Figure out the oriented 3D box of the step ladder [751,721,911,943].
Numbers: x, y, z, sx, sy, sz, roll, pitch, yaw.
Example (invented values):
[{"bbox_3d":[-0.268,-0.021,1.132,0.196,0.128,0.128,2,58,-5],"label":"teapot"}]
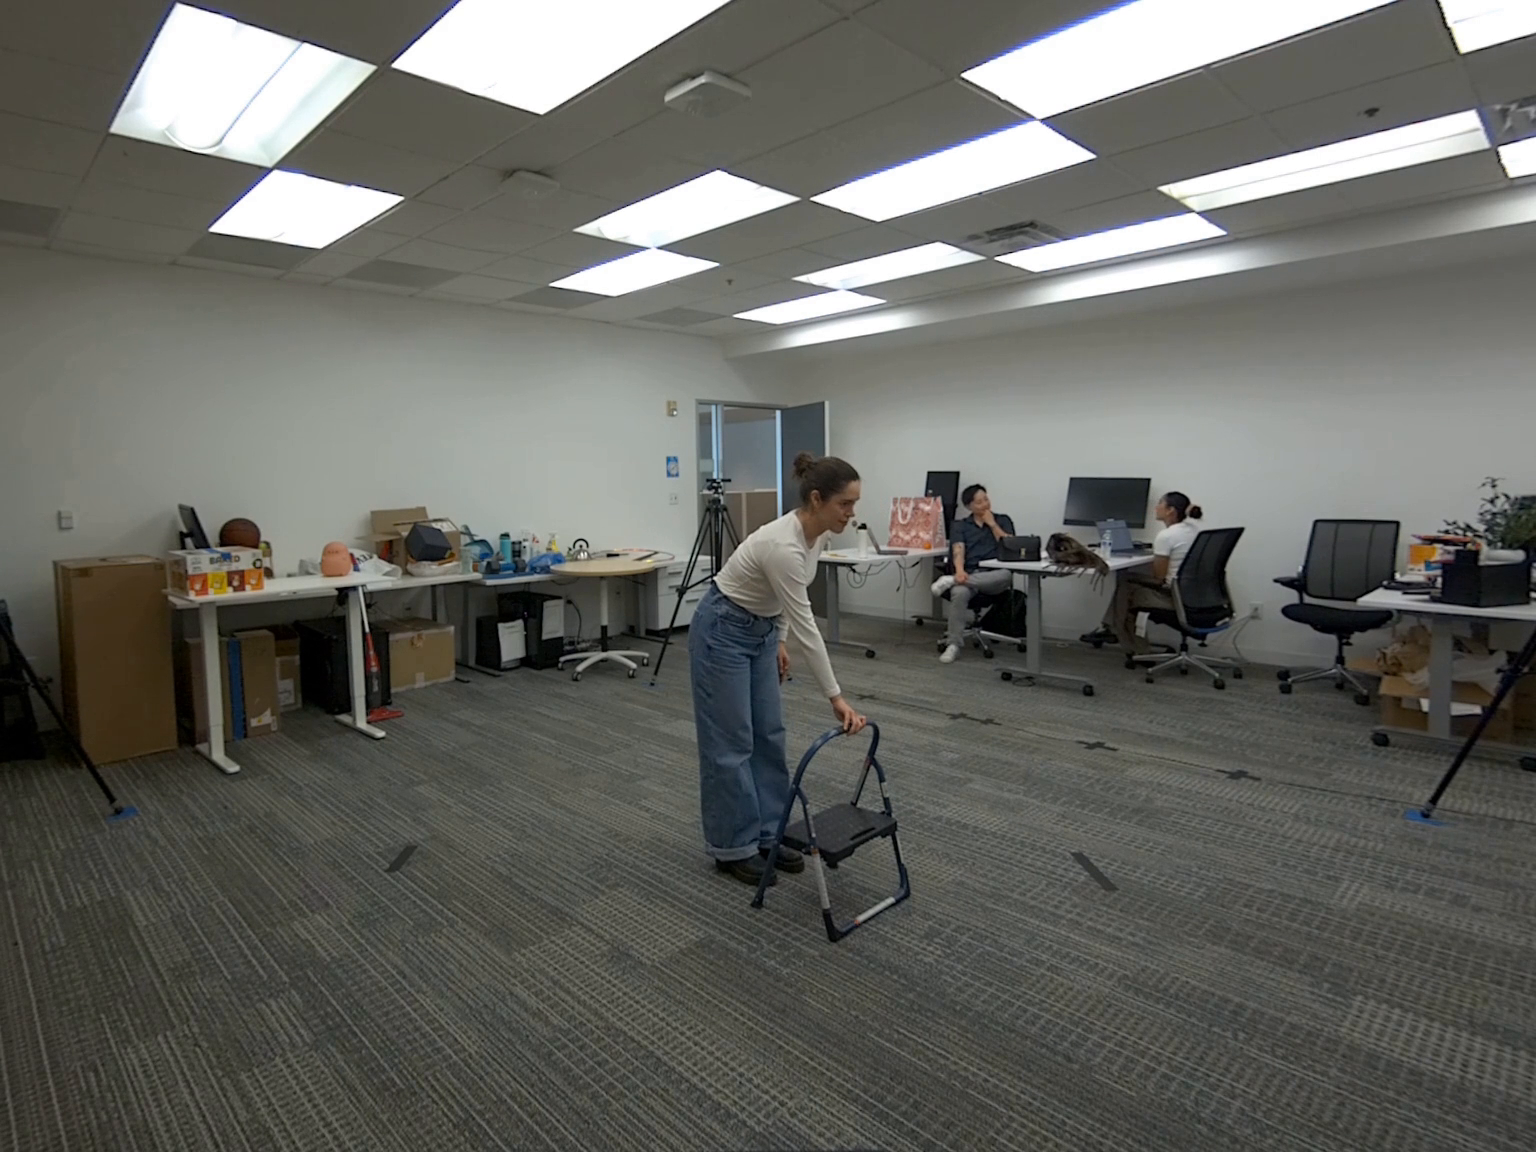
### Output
[{"bbox_3d":[0.209,0.771,2.805,0.360,0.604,0.419,3,5,44],"label":"step ladder"}]
